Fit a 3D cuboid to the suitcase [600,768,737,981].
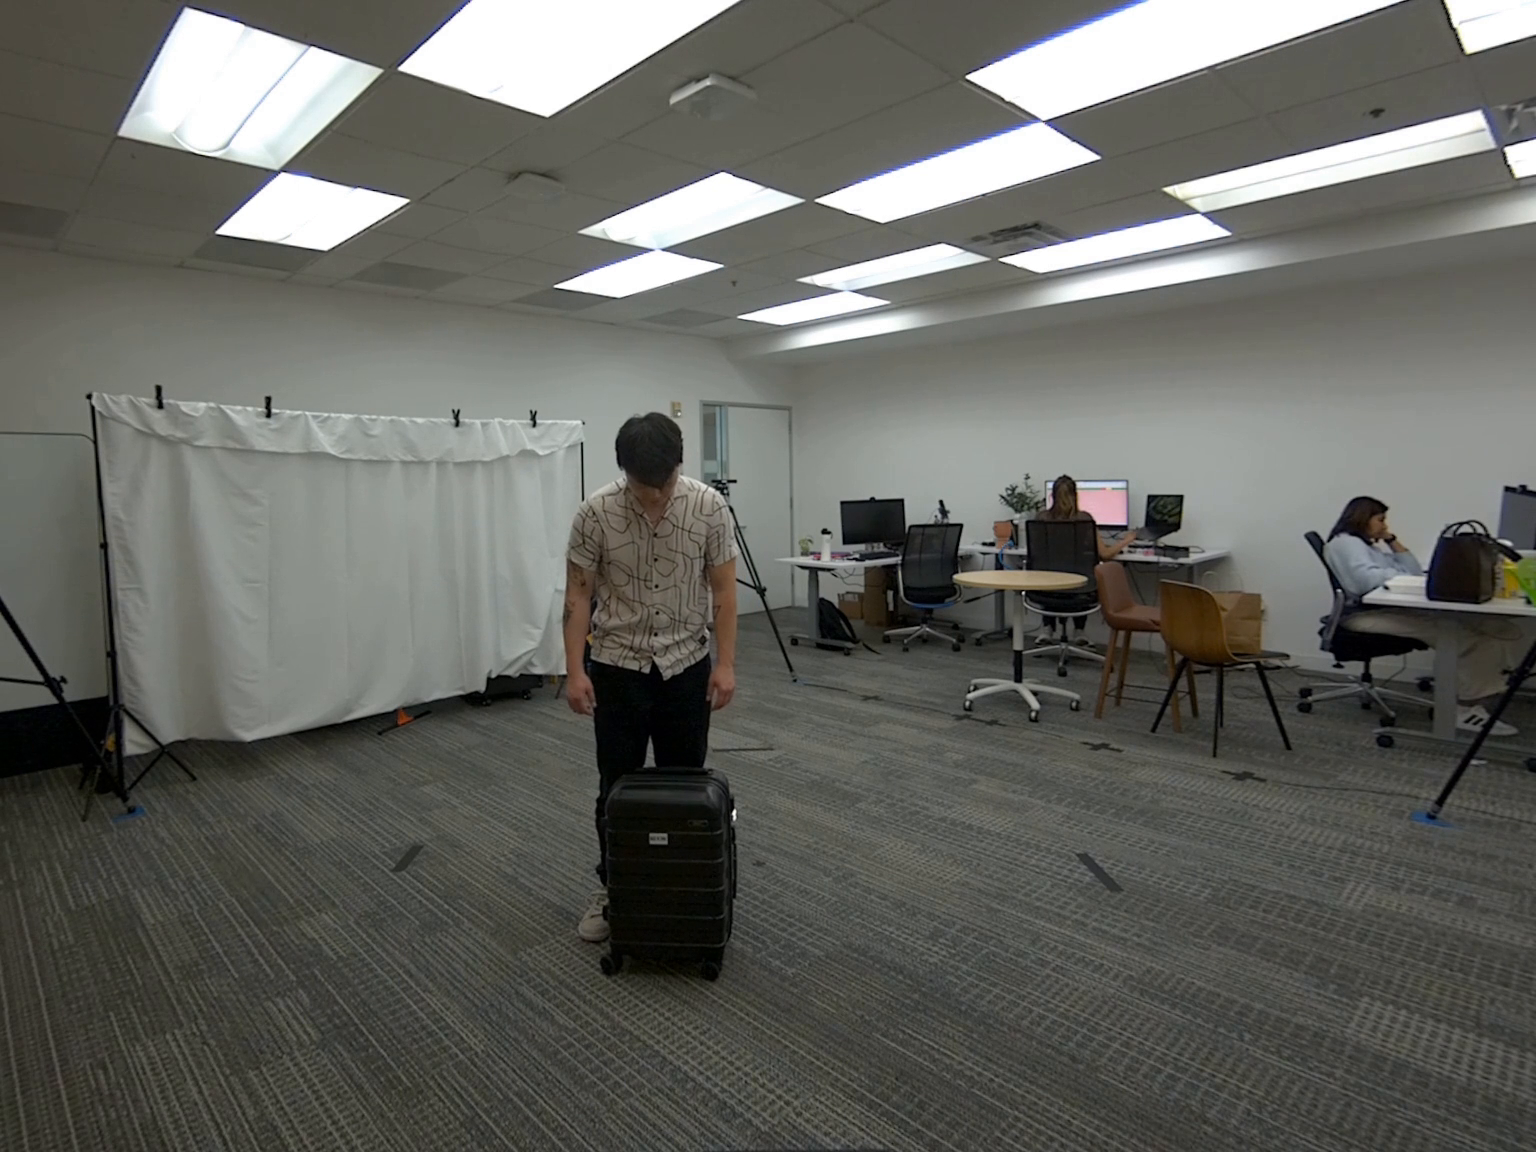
[{"bbox_3d":[-0.279,0.849,2.495,0.377,0.546,0.248,0,6,5],"label":"suitcase"}]
